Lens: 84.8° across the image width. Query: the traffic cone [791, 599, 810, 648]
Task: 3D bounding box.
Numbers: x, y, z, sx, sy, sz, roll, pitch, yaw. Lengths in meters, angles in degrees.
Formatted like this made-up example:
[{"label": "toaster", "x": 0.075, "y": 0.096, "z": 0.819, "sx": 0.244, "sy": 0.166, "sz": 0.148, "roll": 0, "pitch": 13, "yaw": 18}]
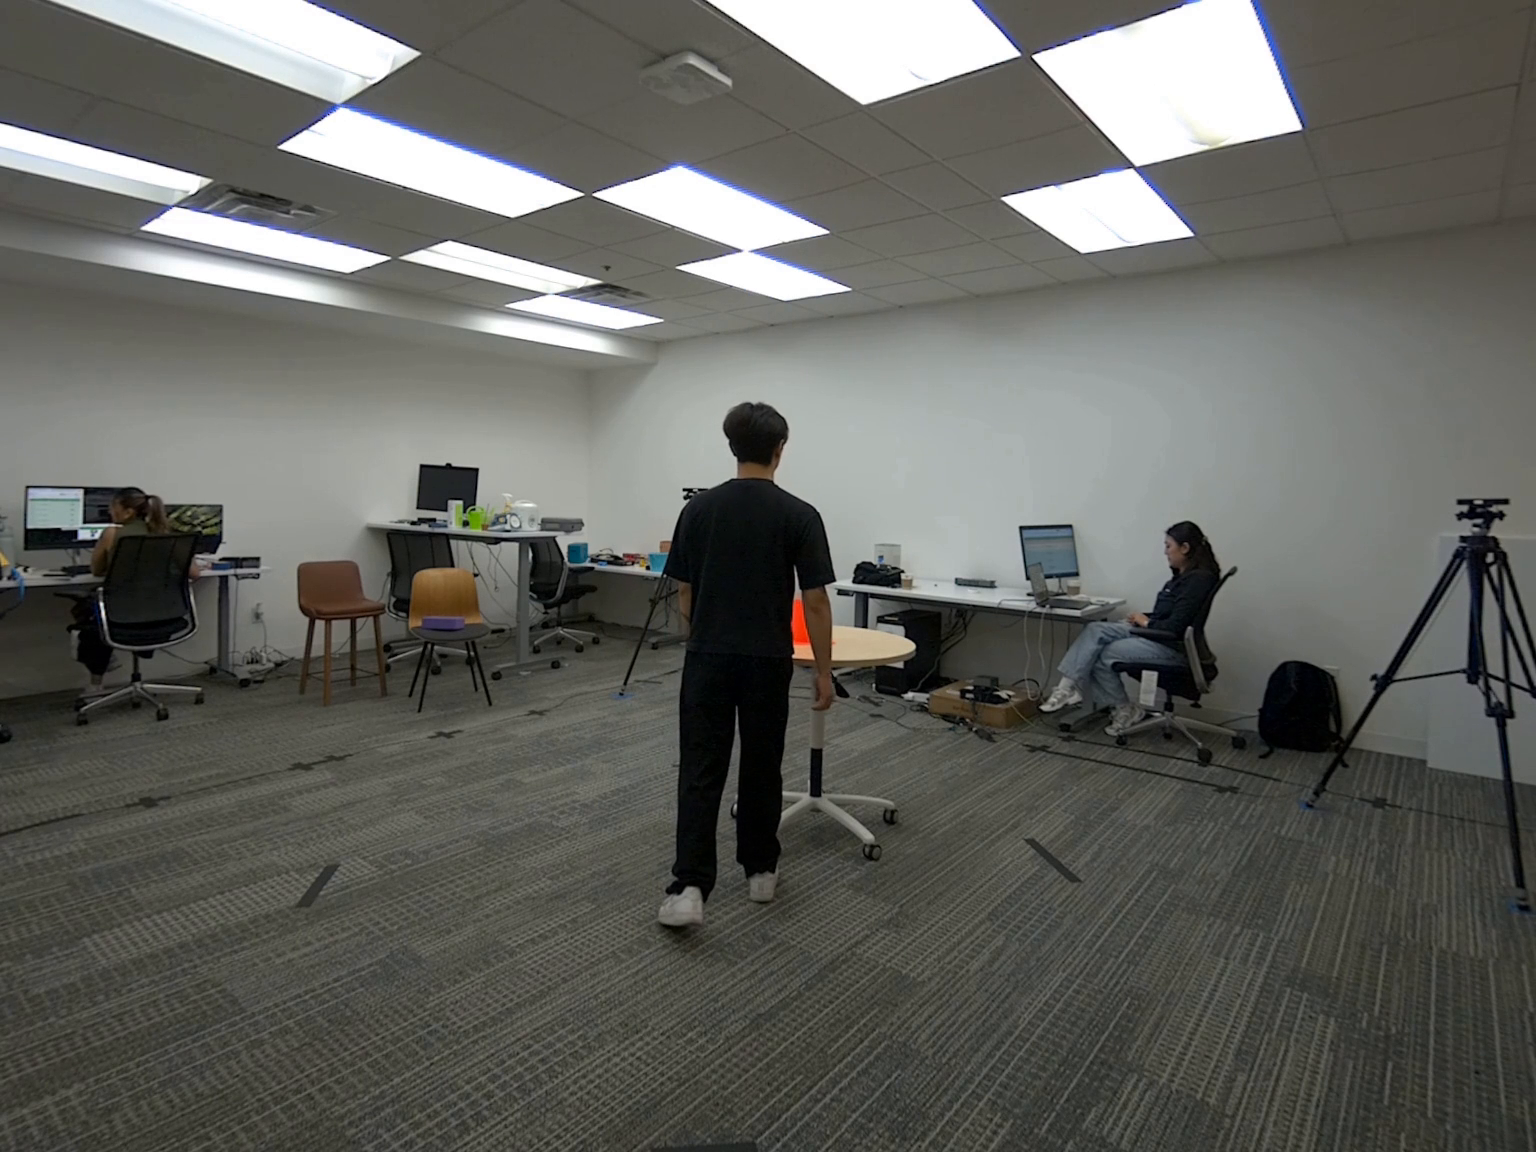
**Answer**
[{"label": "traffic cone", "x": 0.145, "y": 0.074, "z": 3.457, "sx": 0.200, "sy": 0.382, "sz": 0.209, "roll": 0, "pitch": 5, "yaw": -16}]
